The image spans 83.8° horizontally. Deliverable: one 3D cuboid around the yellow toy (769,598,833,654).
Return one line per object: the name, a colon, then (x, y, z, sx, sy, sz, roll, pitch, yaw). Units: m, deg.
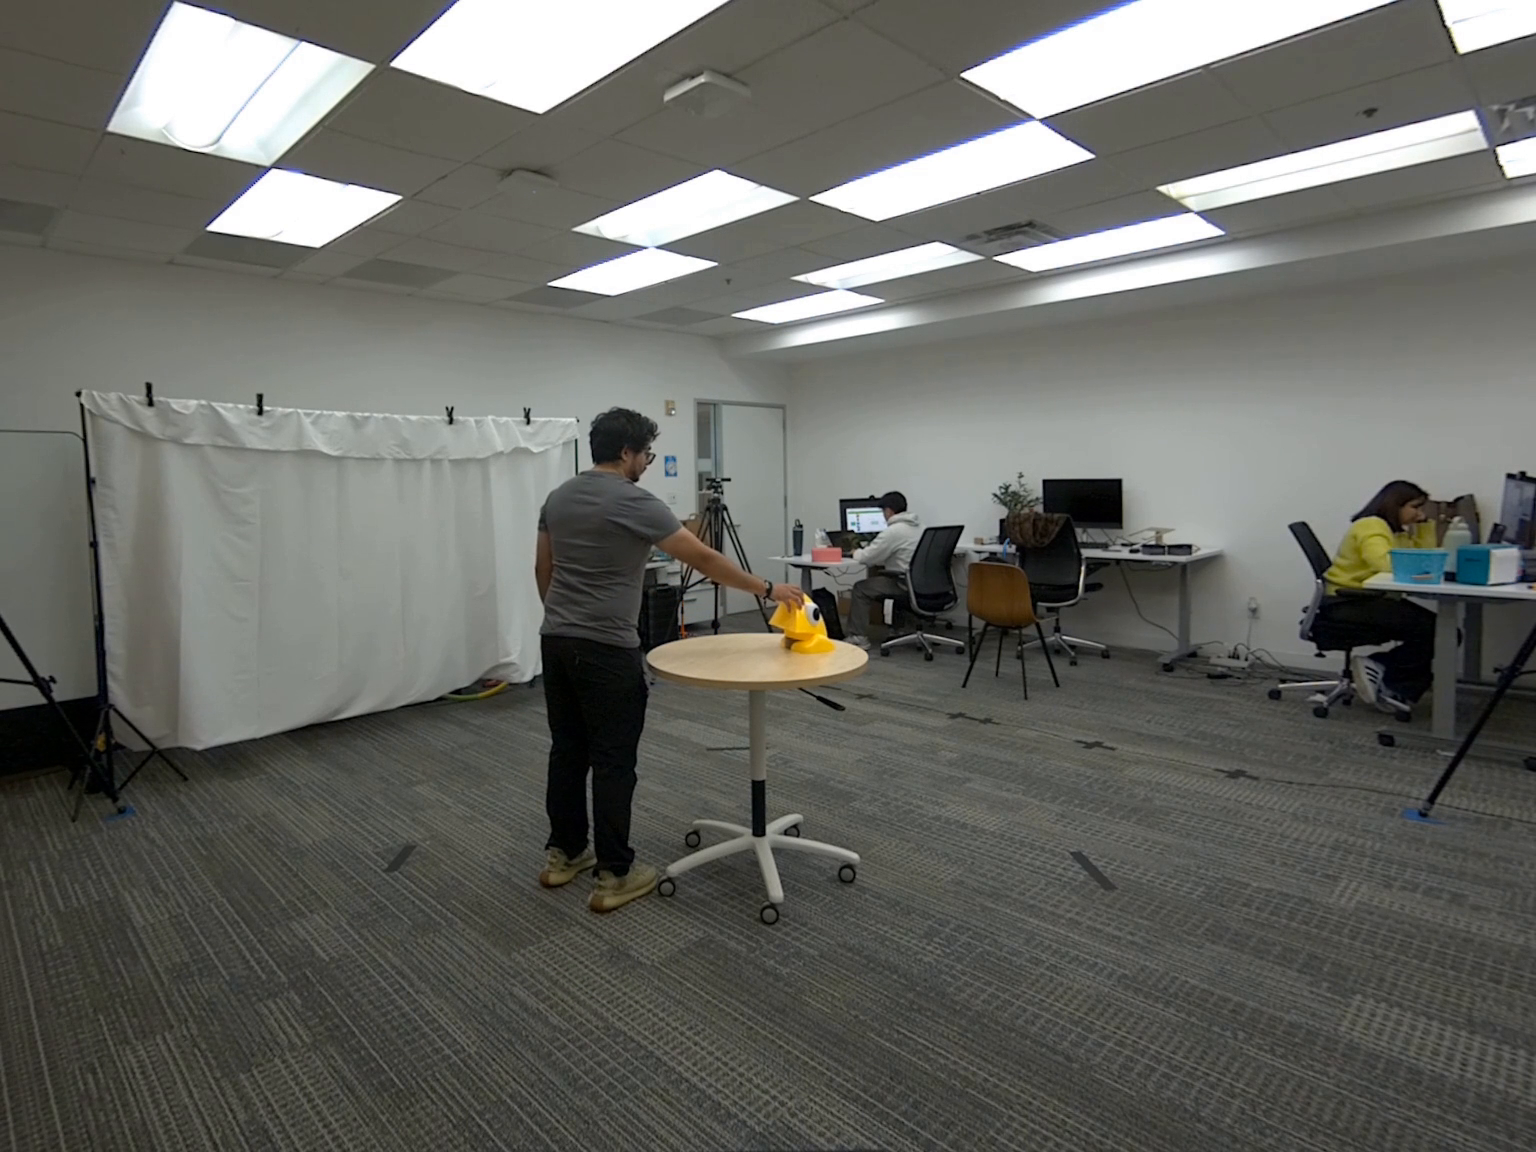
yellow toy: (0.126, 0.142, 3.071, 0.189, 0.230, 0.210, -3, 5, -26)
